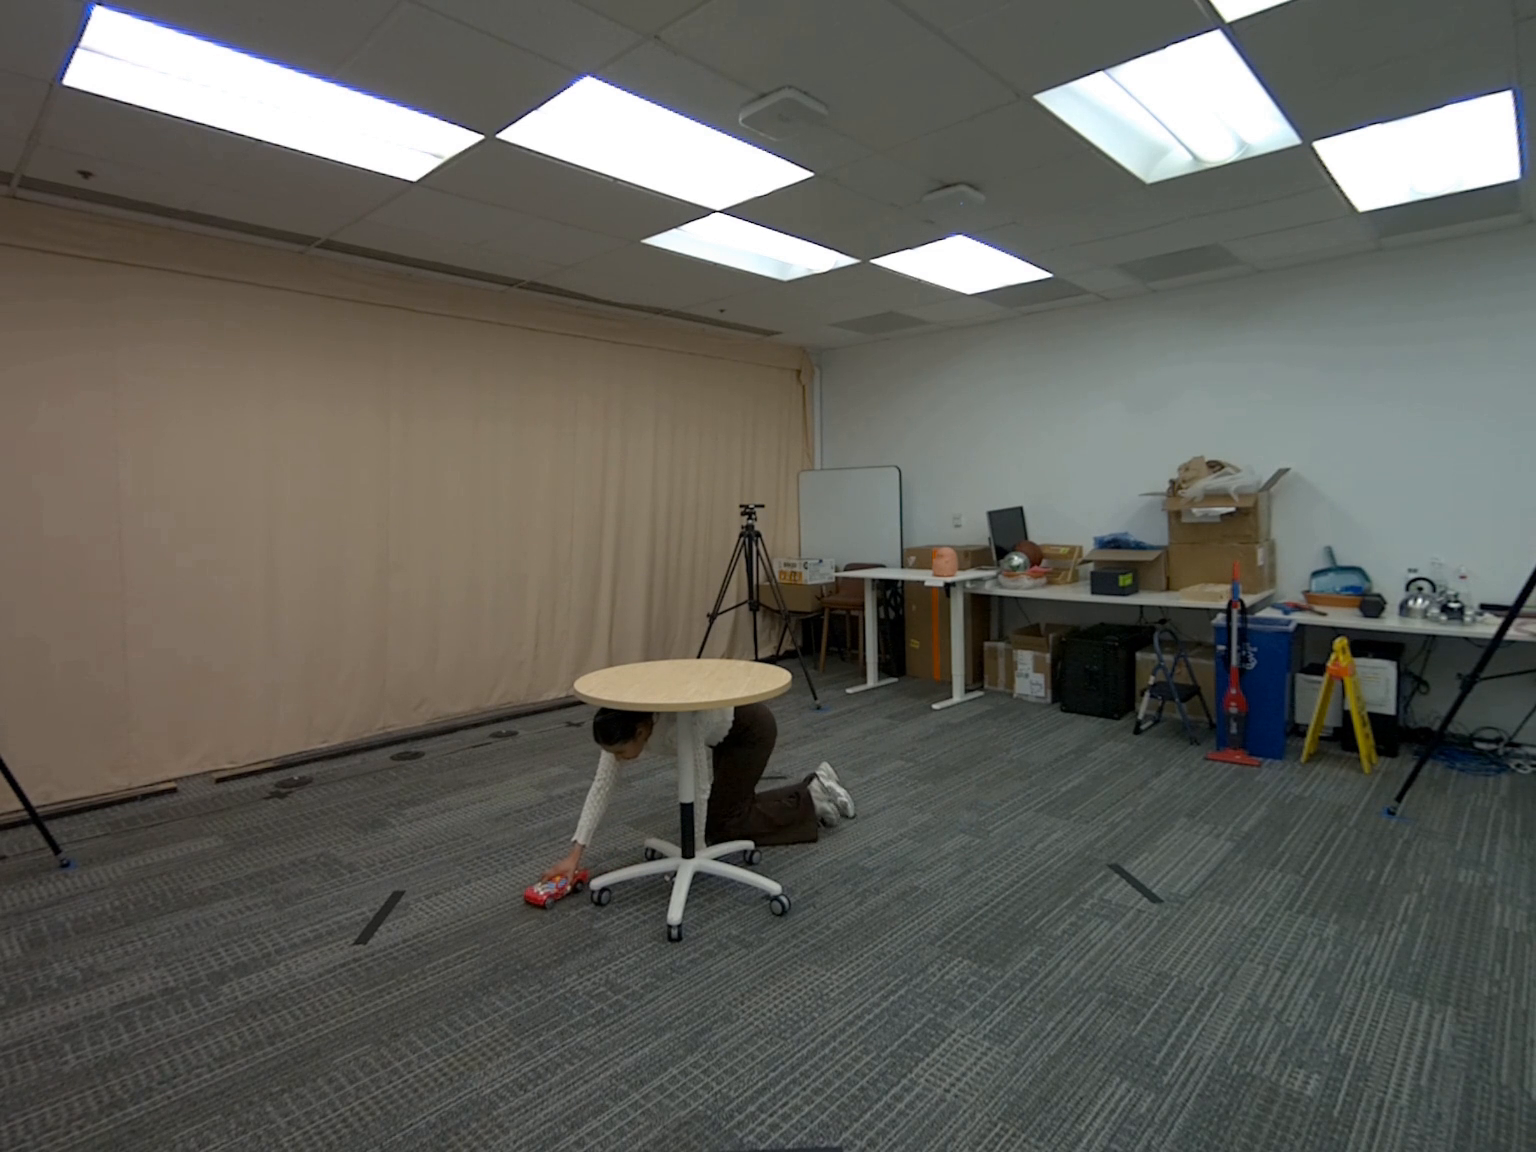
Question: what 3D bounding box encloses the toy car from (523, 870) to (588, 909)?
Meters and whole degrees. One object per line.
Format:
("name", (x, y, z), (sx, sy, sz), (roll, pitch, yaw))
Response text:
("toy car", (-0.758, 1.124, 3.049), (0.134, 0.082, 0.249), (0, 15, 34))
